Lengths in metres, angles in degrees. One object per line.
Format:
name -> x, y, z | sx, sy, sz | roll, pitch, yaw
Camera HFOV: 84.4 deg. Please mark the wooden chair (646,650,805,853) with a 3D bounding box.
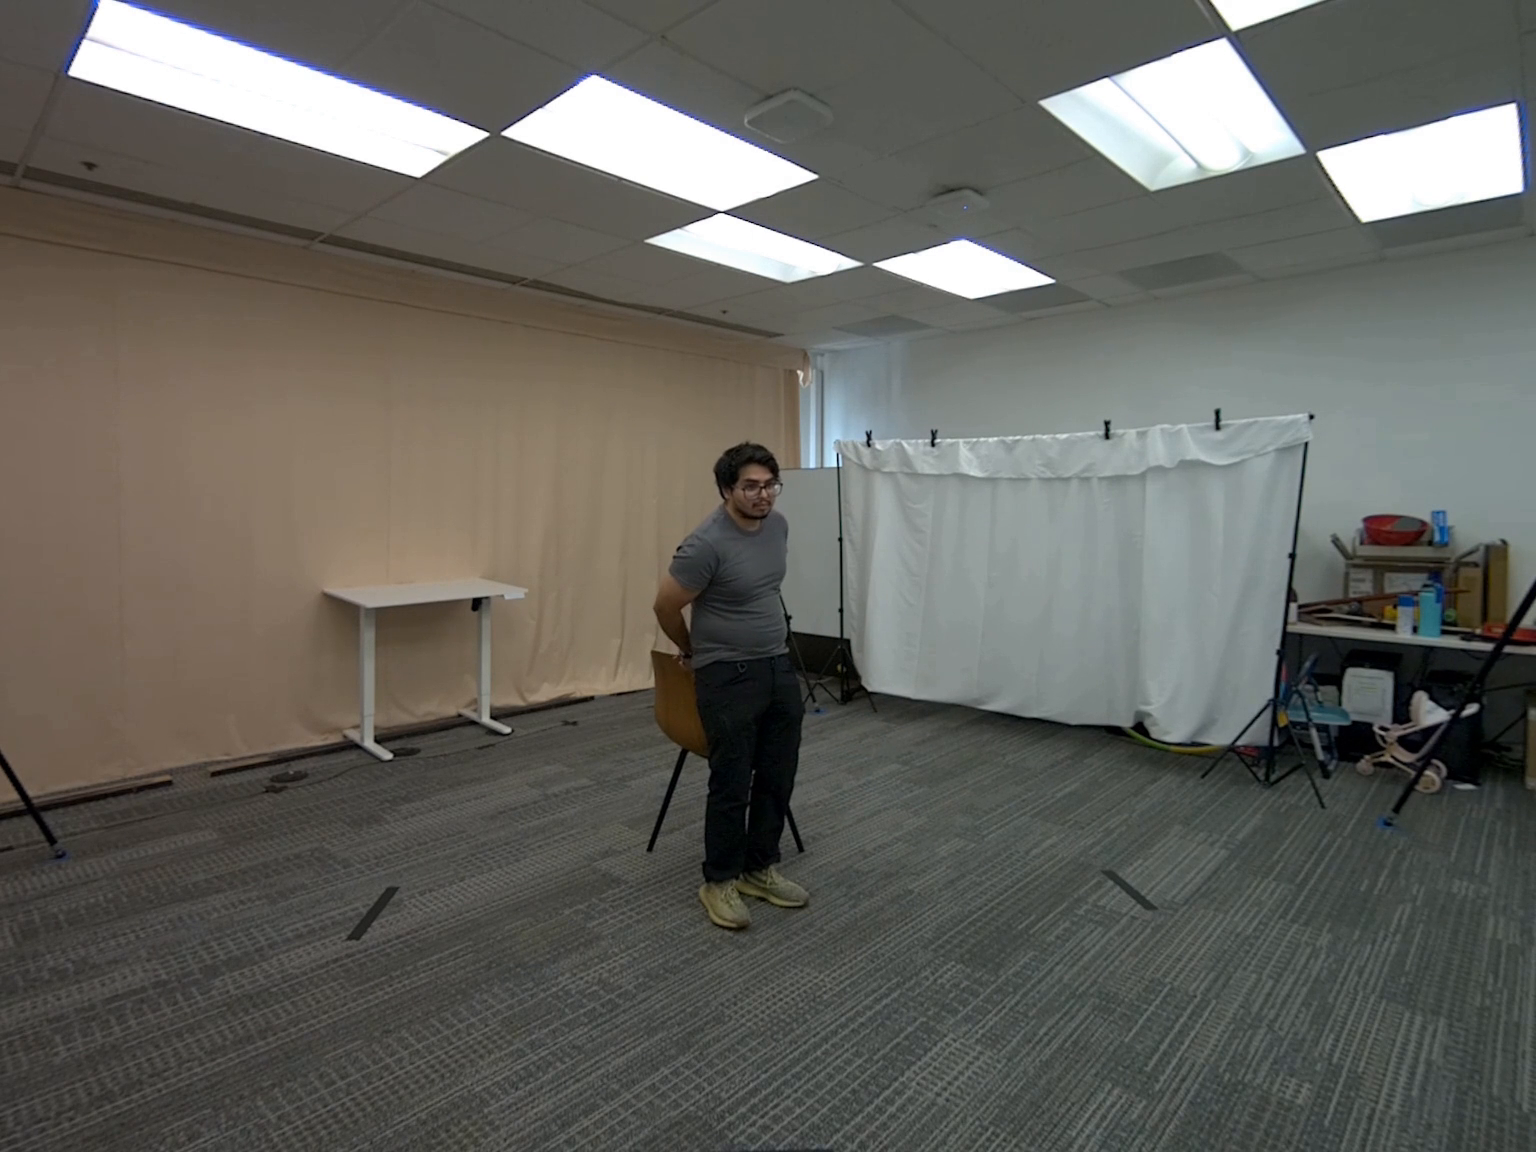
wooden chair -> -0.170, 0.686, 3.376 | 0.508, 0.874, 0.494 | -9, 7, -43
